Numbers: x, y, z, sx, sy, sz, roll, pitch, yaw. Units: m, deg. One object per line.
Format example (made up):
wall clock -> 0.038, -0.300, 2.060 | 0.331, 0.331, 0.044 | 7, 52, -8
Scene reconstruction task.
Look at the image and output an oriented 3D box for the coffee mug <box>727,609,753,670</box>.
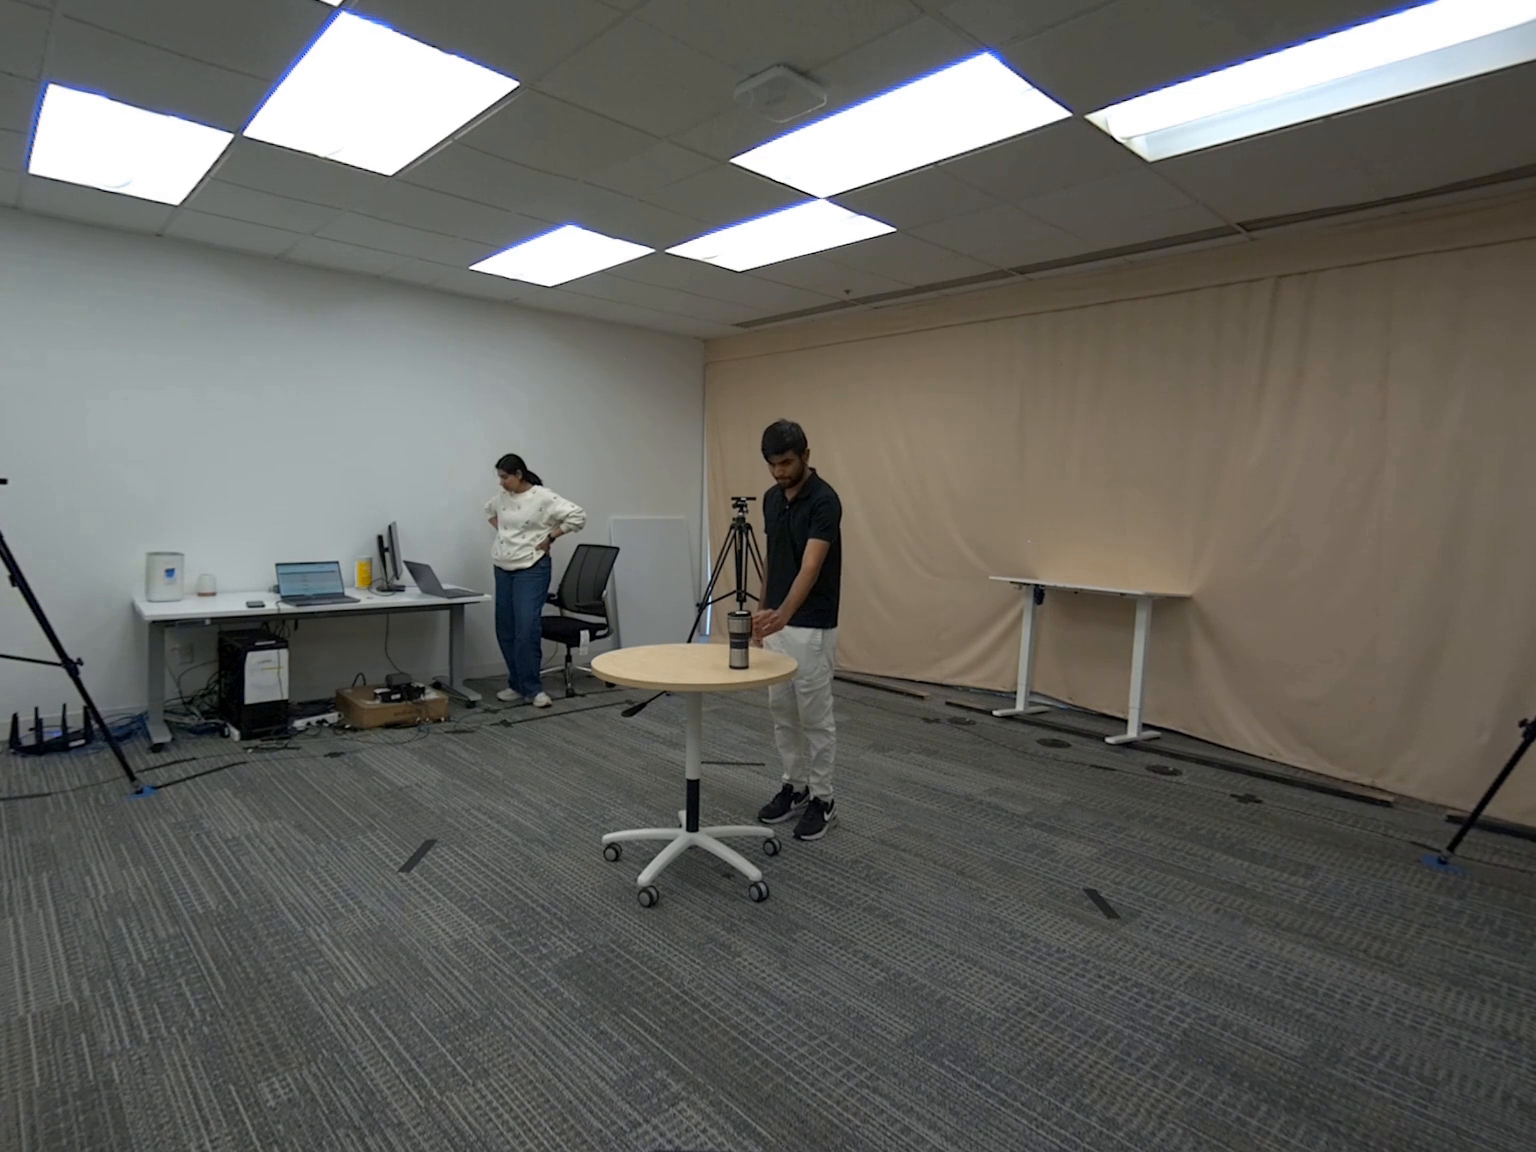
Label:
coffee mug -> -0.091, 0.231, 3.026 | 0.119, 0.203, 0.090 | -3, 2, -36
